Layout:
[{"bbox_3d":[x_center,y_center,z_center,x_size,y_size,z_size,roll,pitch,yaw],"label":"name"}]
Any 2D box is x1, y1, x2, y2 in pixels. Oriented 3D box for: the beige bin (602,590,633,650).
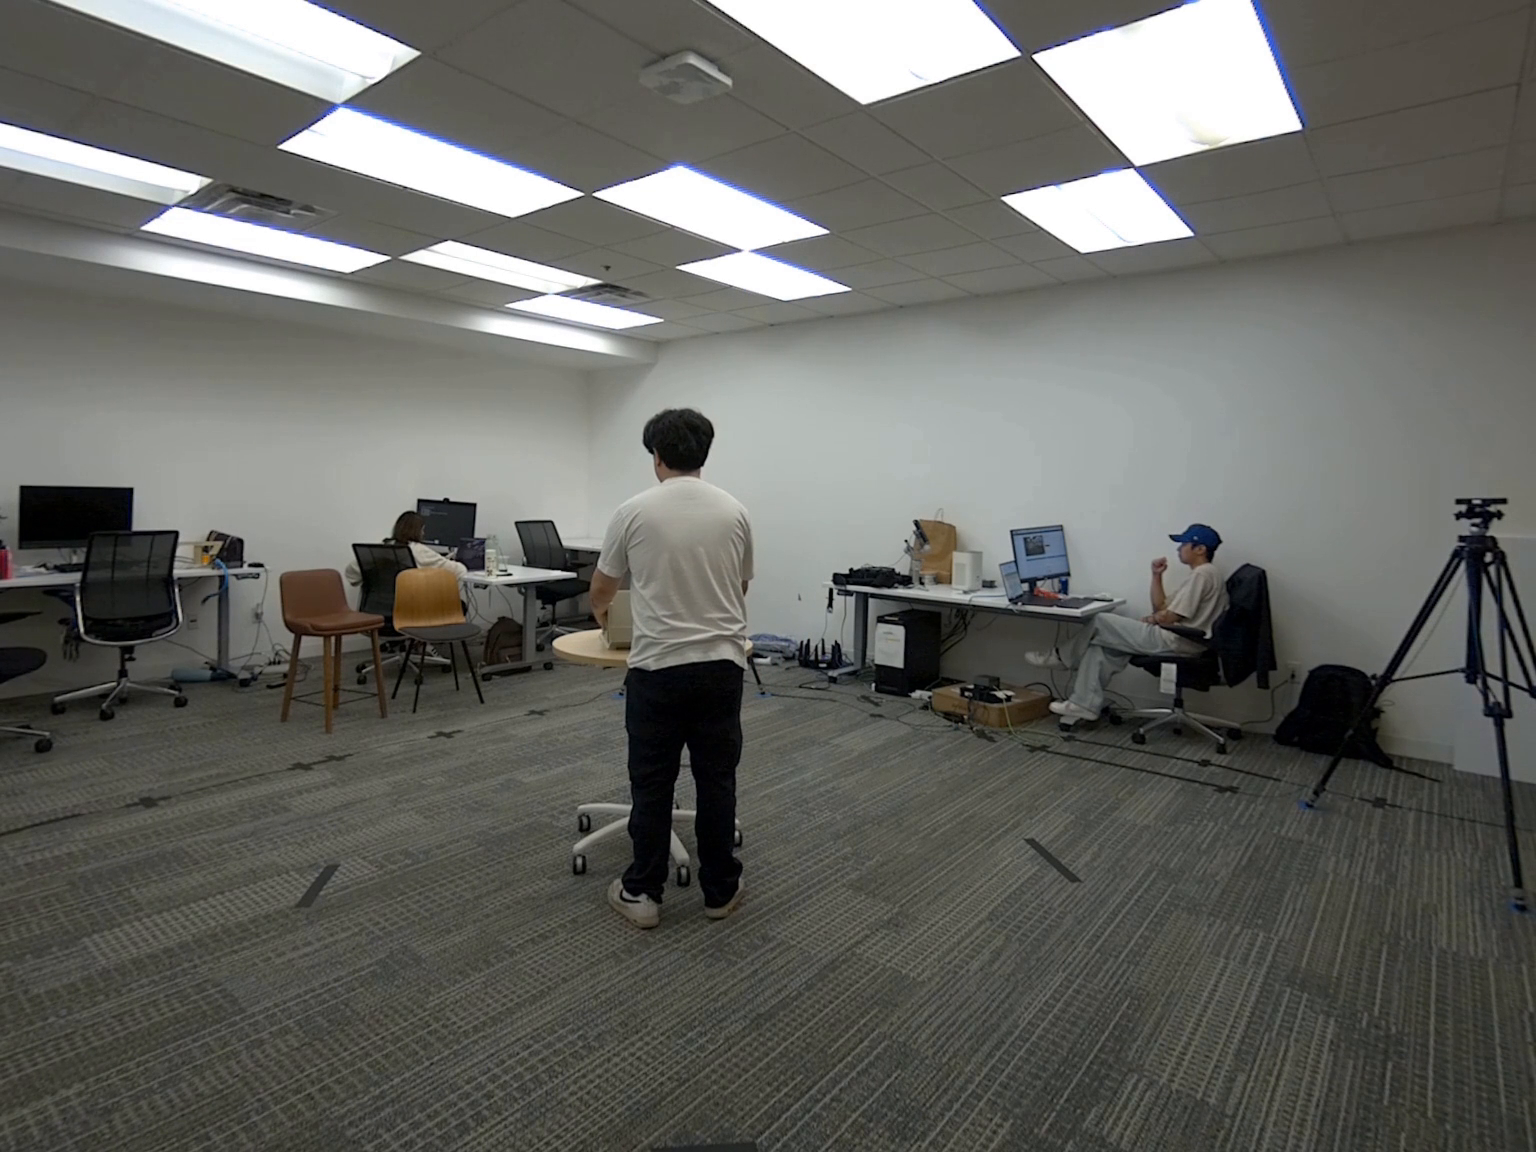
[{"bbox_3d":[-0.429,0.165,3.263,0.415,0.189,0.385,0,3,-17],"label":"beige bin"}]
